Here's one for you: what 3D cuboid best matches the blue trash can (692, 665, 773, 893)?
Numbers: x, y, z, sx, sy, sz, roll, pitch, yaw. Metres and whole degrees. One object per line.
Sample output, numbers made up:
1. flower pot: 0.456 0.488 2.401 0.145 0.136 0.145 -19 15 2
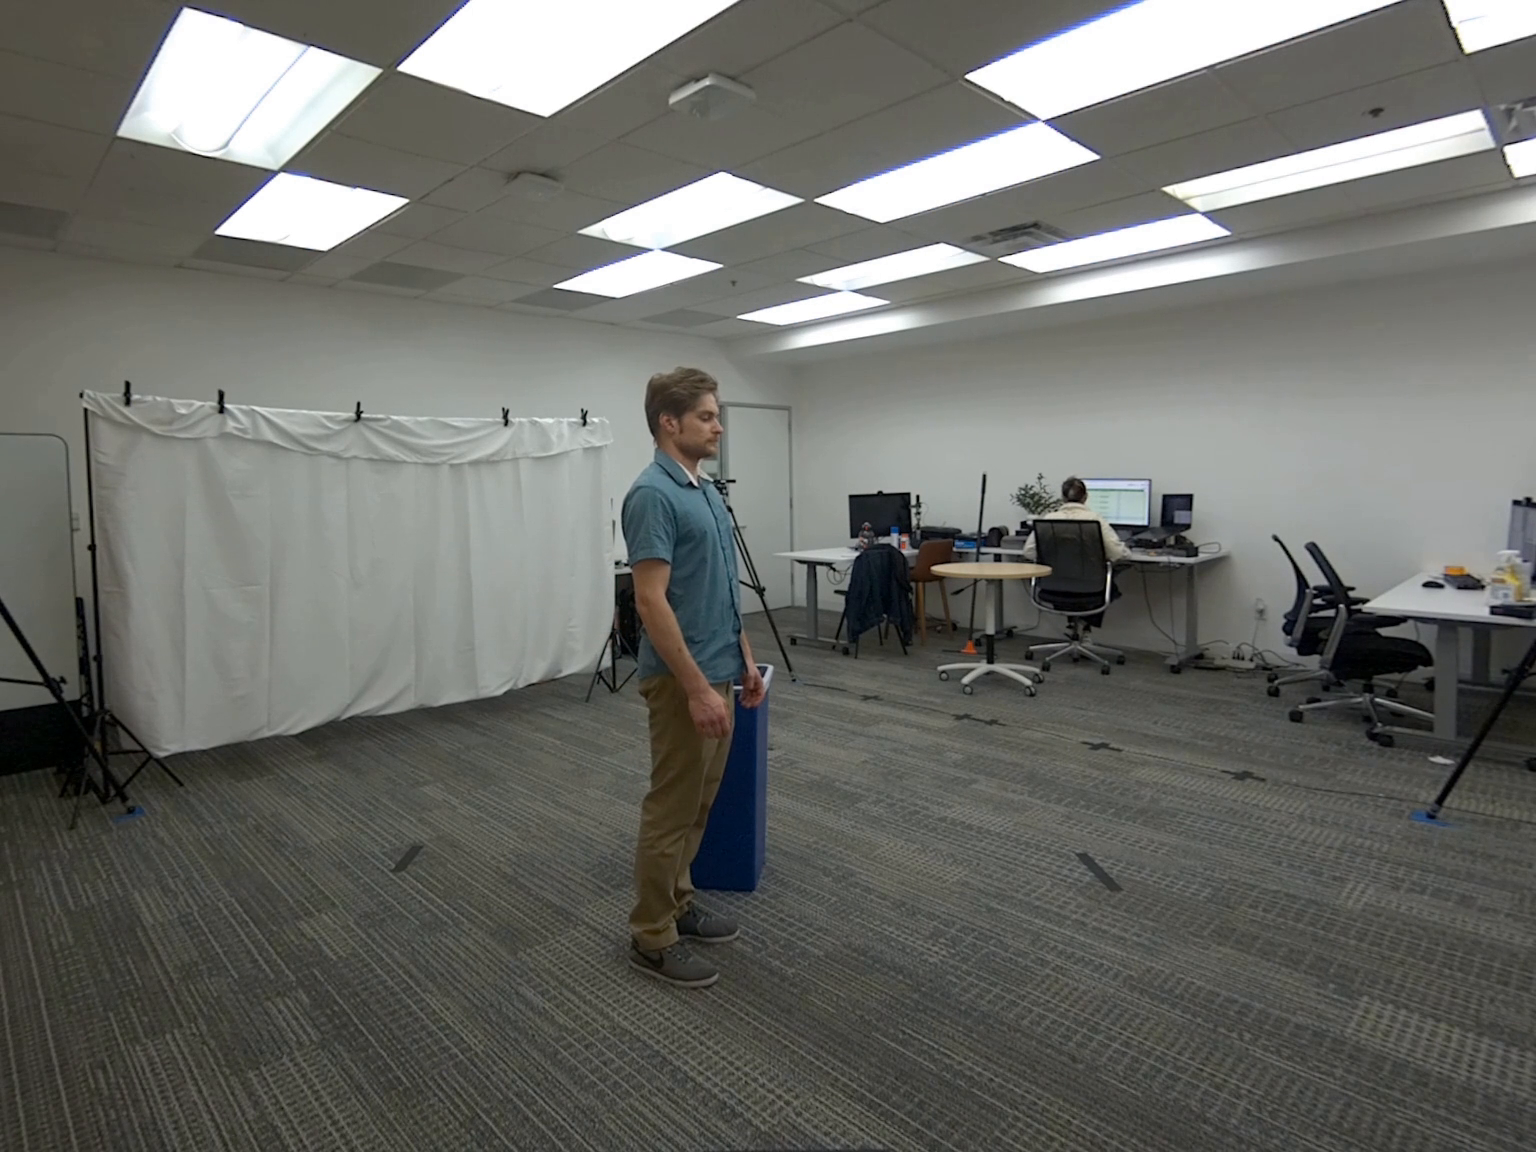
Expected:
1. blue trash can: -0.168 0.700 3.033 0.381 0.711 0.372 0 4 8
